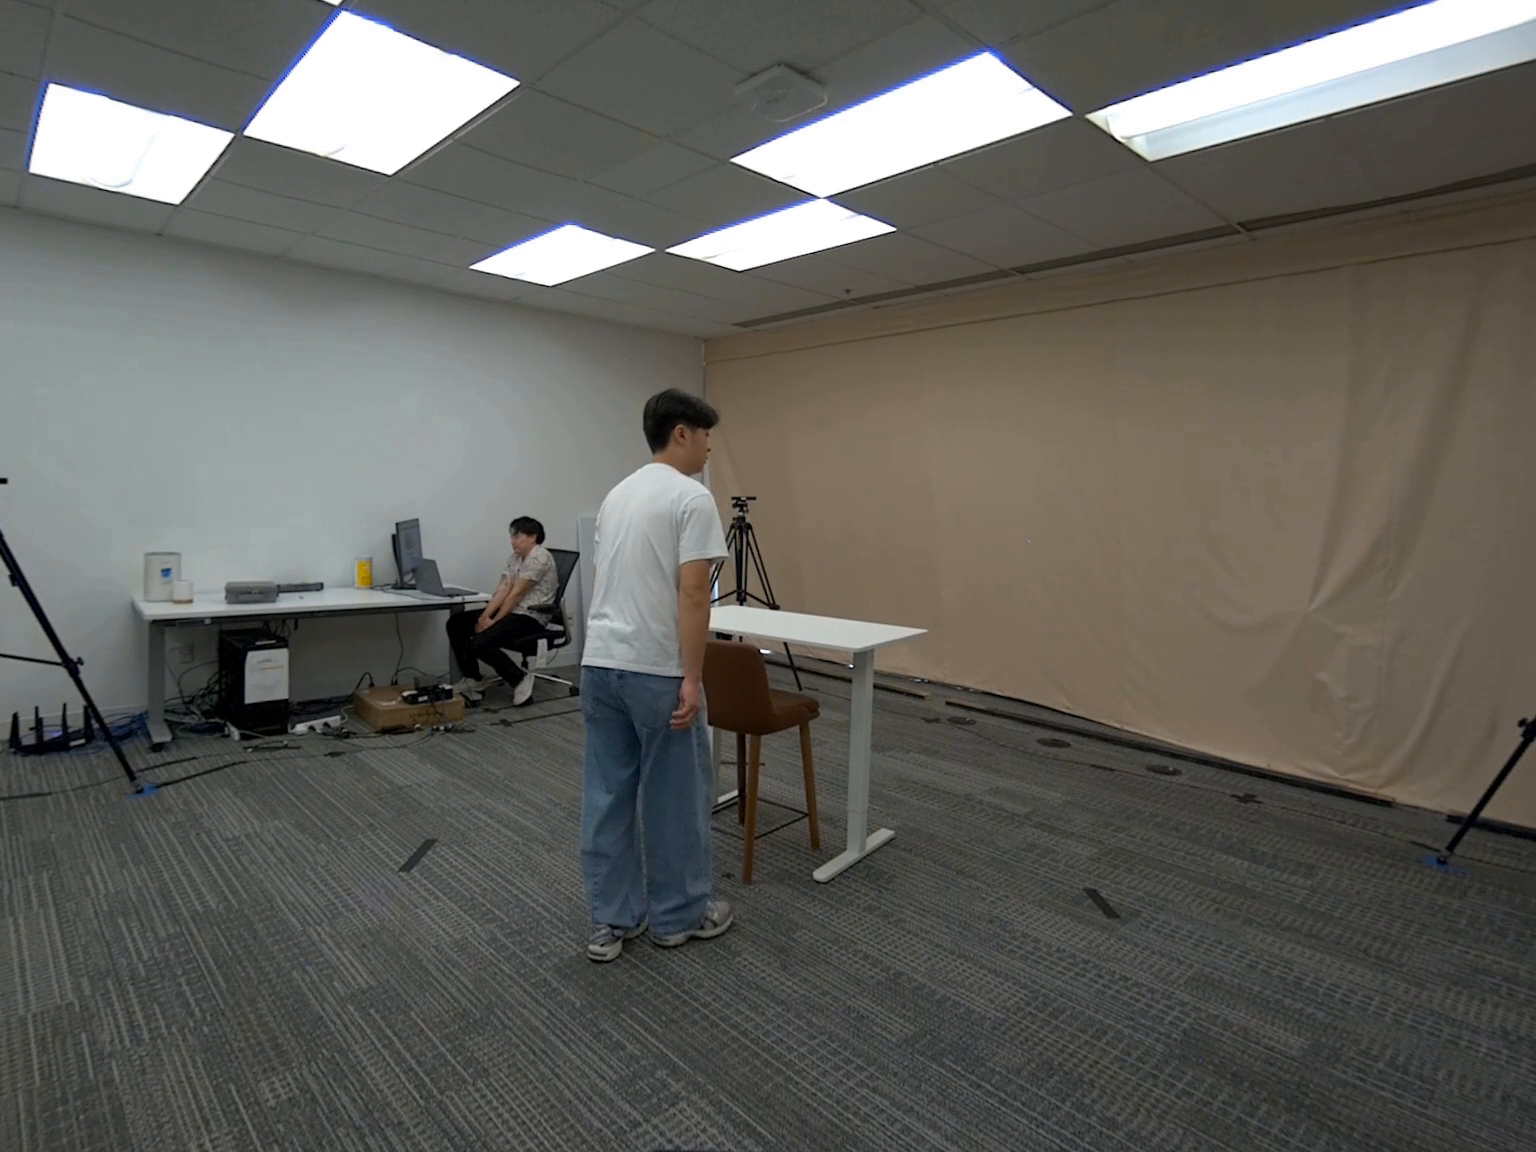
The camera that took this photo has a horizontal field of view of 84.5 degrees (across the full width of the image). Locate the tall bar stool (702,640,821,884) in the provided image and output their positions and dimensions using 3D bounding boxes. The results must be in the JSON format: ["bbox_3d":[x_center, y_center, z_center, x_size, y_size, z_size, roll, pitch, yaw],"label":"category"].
[{"bbox_3d":[-0.084,0.655,3.286,0.468,0.886,0.458,3,6,39],"label":"tall bar stool"}]
